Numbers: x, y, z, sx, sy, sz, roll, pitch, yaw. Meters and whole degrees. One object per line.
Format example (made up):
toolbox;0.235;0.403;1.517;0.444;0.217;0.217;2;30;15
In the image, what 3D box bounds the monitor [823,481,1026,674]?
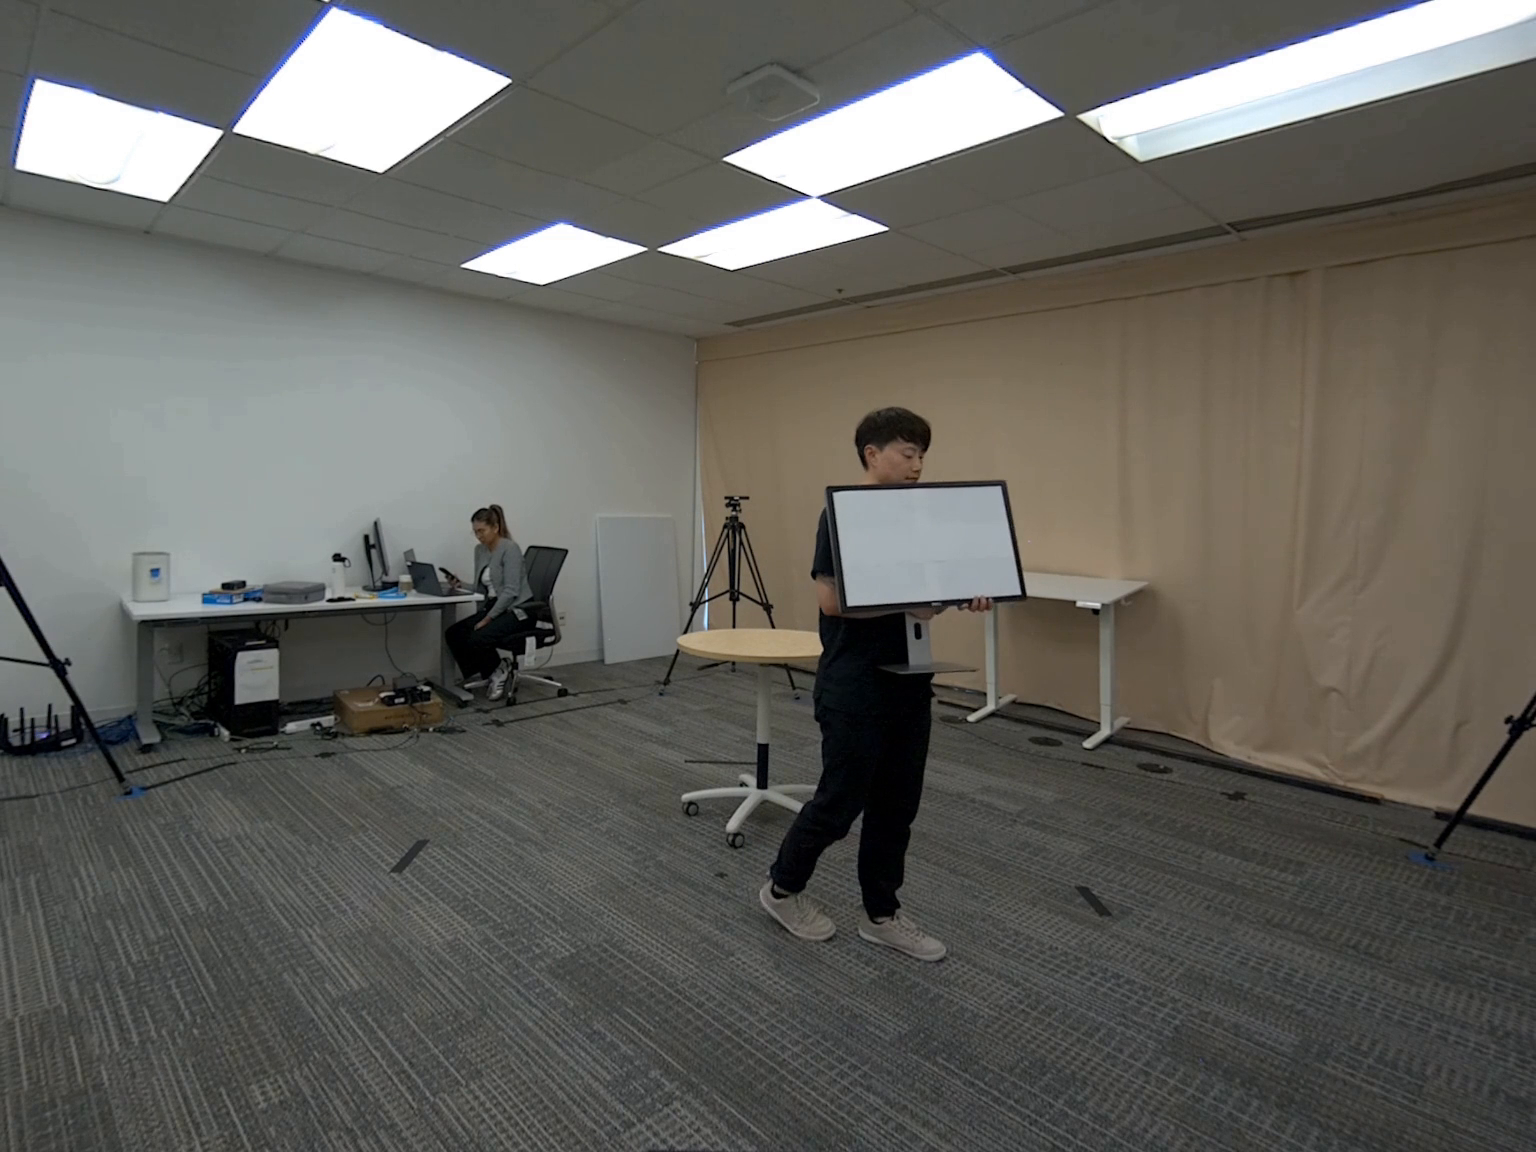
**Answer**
monitor;0.434;0.002;2.428;0.533;0.524;0.189;-3;-3;-14
